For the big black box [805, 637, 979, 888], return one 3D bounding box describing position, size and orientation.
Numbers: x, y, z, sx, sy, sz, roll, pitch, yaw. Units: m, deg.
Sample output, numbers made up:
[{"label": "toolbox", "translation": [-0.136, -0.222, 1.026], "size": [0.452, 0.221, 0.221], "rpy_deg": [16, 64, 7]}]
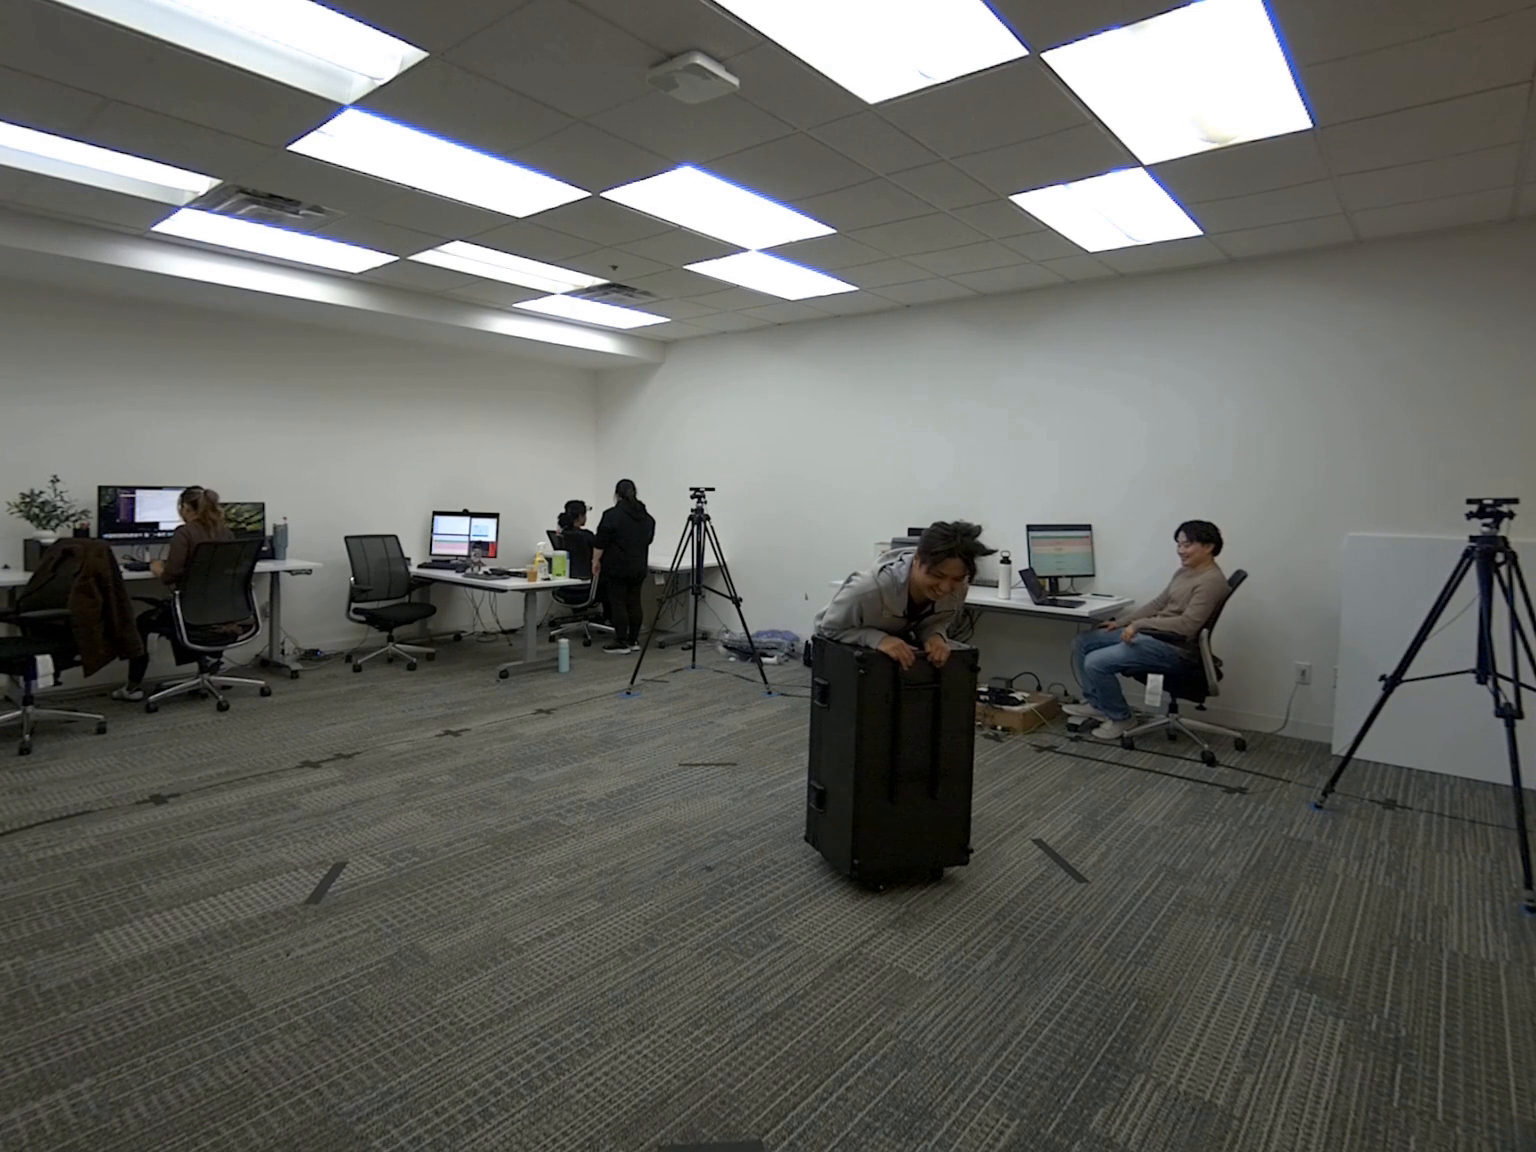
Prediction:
[{"label": "big black box", "translation": [0.446, 0.664, 3.091], "size": [0.511, 0.857, 0.406], "rpy_deg": [0, 6, -20]}]
